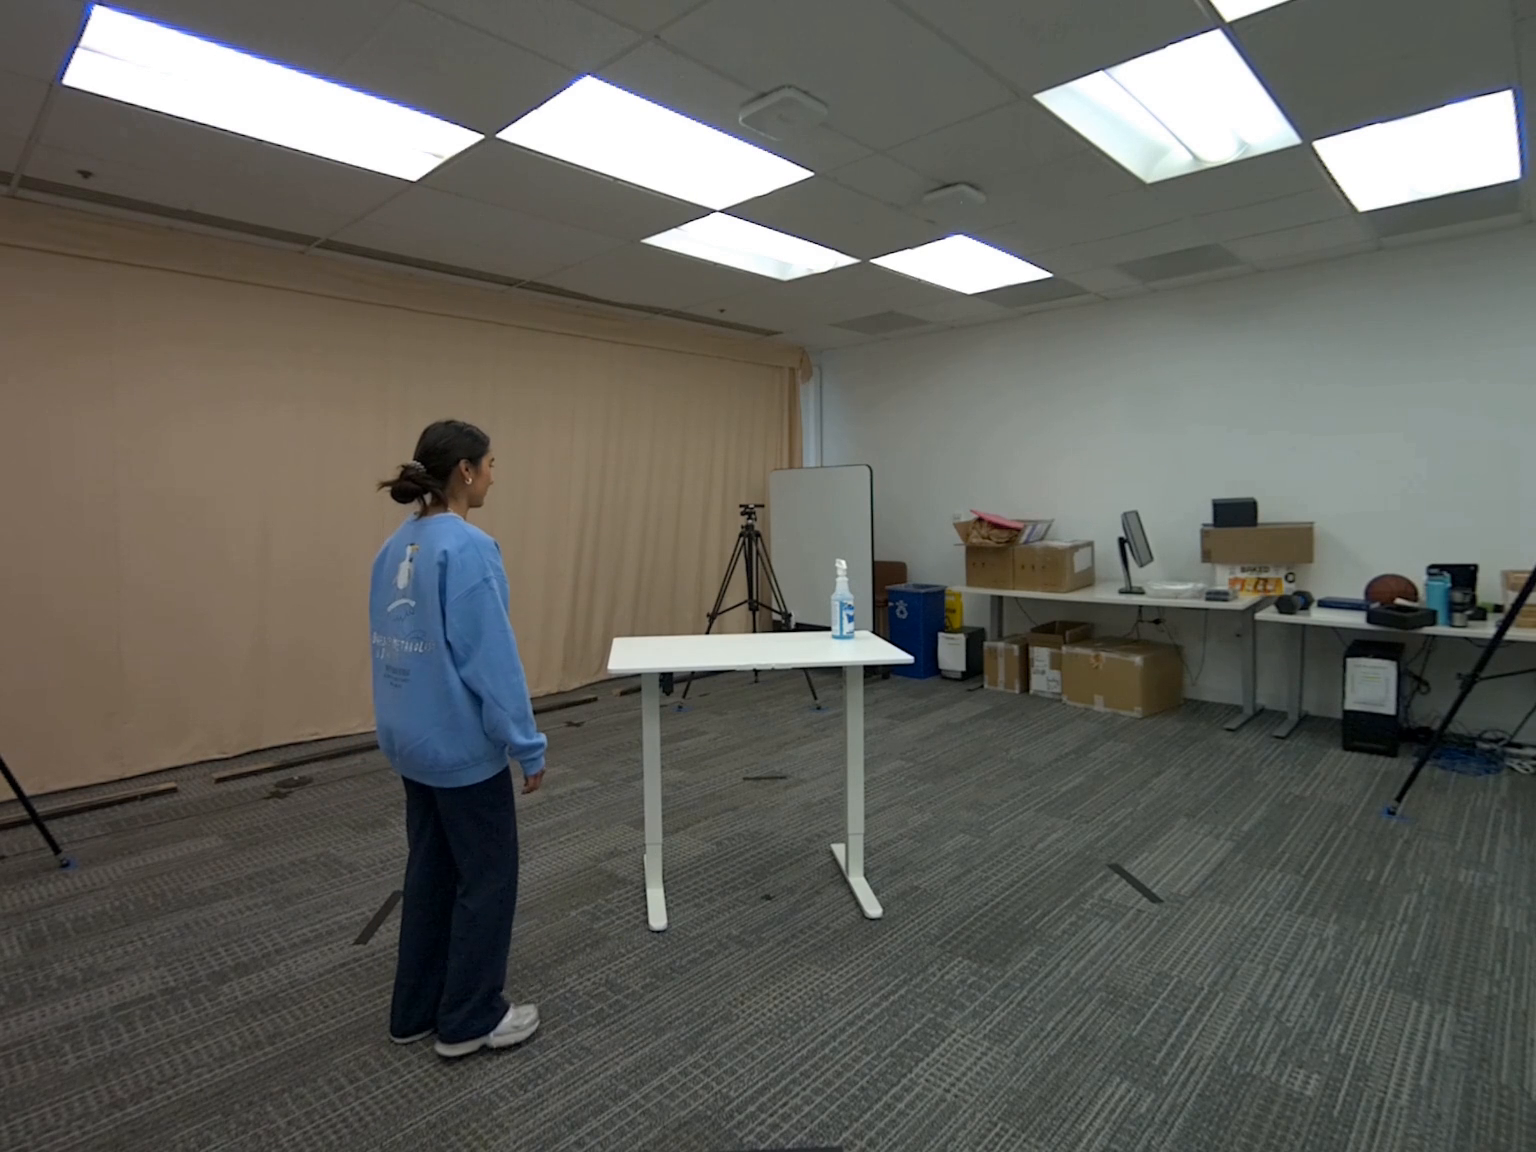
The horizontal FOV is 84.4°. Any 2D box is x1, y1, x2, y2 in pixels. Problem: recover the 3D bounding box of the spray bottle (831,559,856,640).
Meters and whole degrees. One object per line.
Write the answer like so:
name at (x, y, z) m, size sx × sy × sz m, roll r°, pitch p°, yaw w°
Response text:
spray bottle at (0.290, 0.089, 3.185) m, size 0.088 × 0.297 × 0.089 m, roll -2°, pitch 3°, yaw 12°
